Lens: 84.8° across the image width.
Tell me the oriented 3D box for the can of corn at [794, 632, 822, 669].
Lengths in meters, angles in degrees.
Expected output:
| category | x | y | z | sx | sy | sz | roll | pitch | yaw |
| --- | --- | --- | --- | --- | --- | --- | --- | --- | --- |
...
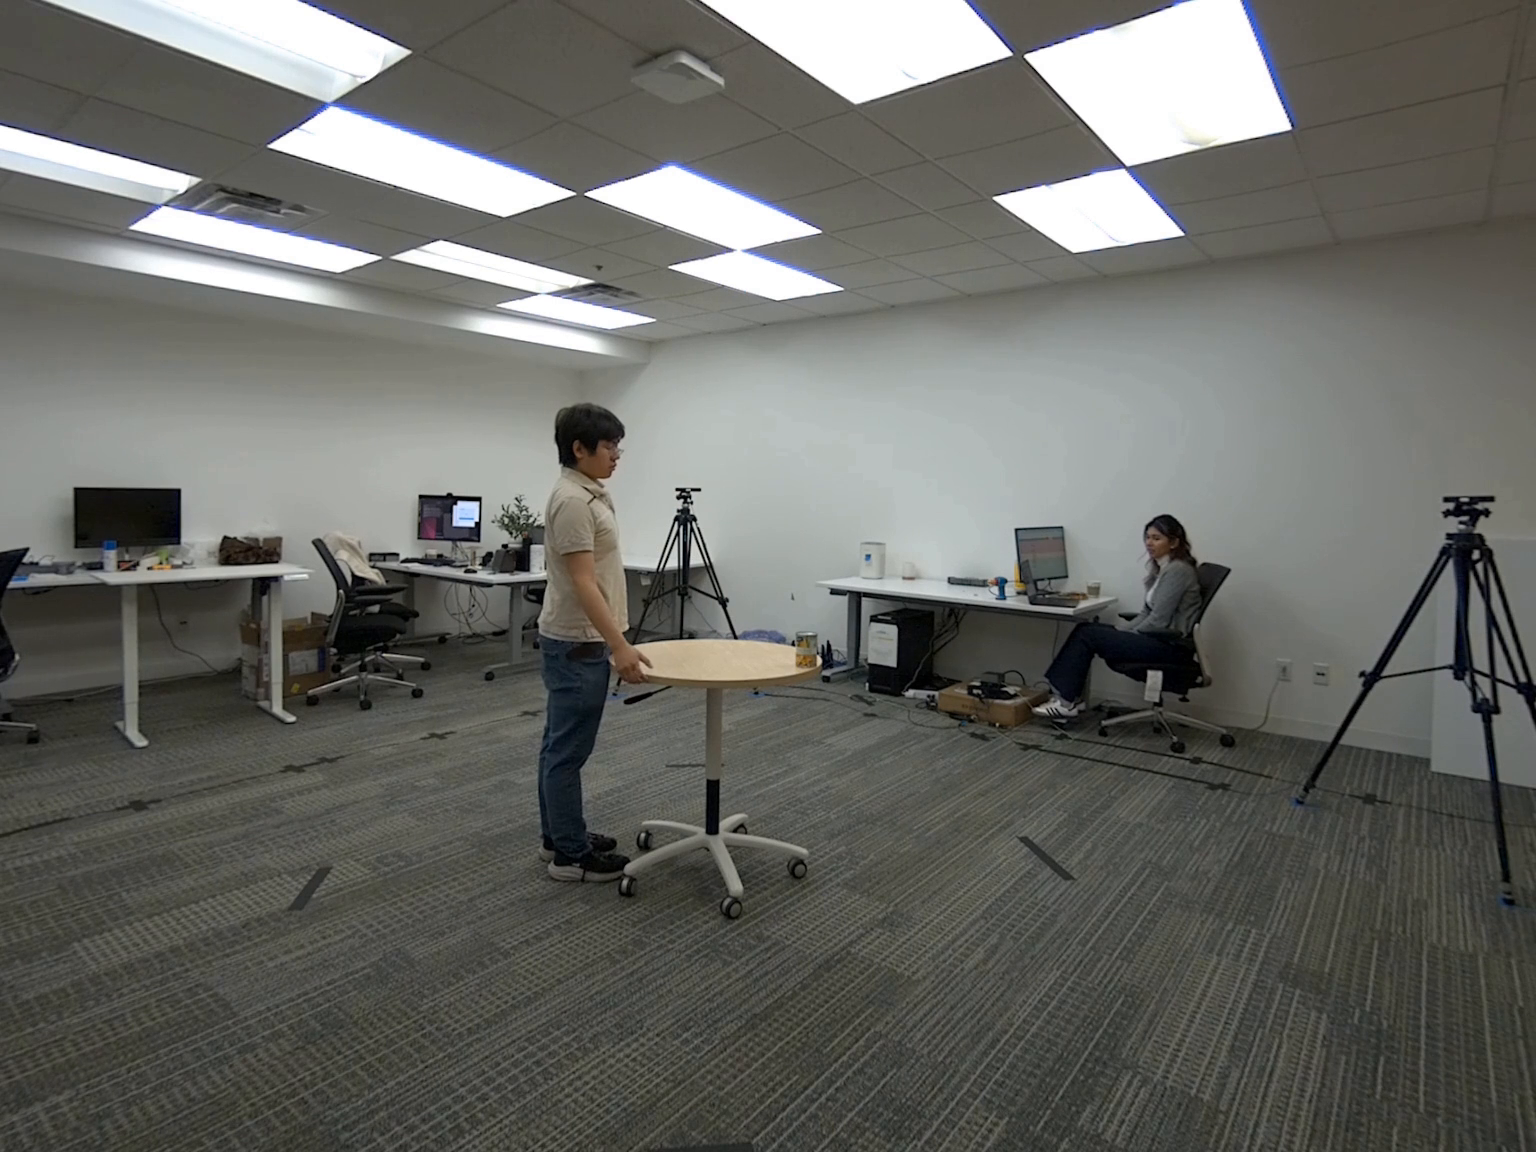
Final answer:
| category | x | y | z | sx | sy | sz | roll | pitch | yaw |
| --- | --- | --- | --- | --- | --- | --- | --- | --- | --- |
| can of corn | 0.124 | 0.252 | 2.919 | 0.074 | 0.110 | 0.075 | -1 | 7 | -2 |
